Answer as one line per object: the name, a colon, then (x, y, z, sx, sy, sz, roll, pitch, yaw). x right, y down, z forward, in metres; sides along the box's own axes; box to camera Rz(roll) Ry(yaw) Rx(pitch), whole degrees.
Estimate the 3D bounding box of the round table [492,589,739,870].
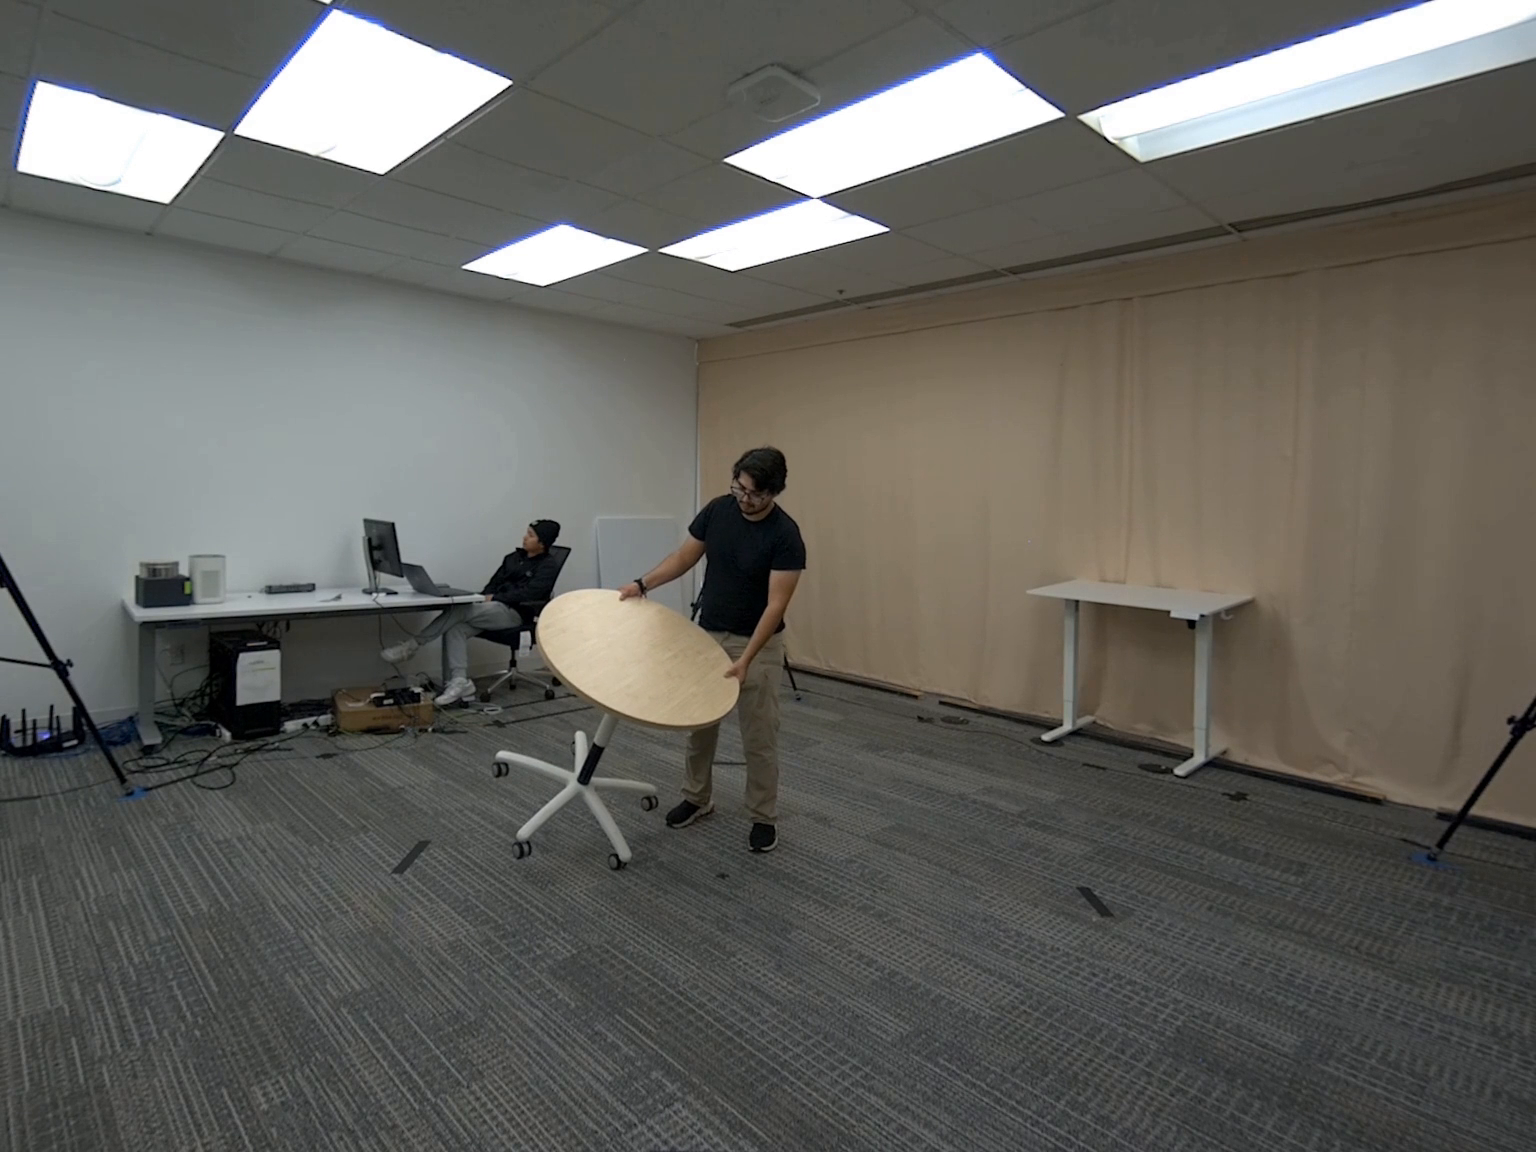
round table: (-0.635, 0.586, 3.179, 0.777, 0.781, 0.799, 21, 23, -11)
